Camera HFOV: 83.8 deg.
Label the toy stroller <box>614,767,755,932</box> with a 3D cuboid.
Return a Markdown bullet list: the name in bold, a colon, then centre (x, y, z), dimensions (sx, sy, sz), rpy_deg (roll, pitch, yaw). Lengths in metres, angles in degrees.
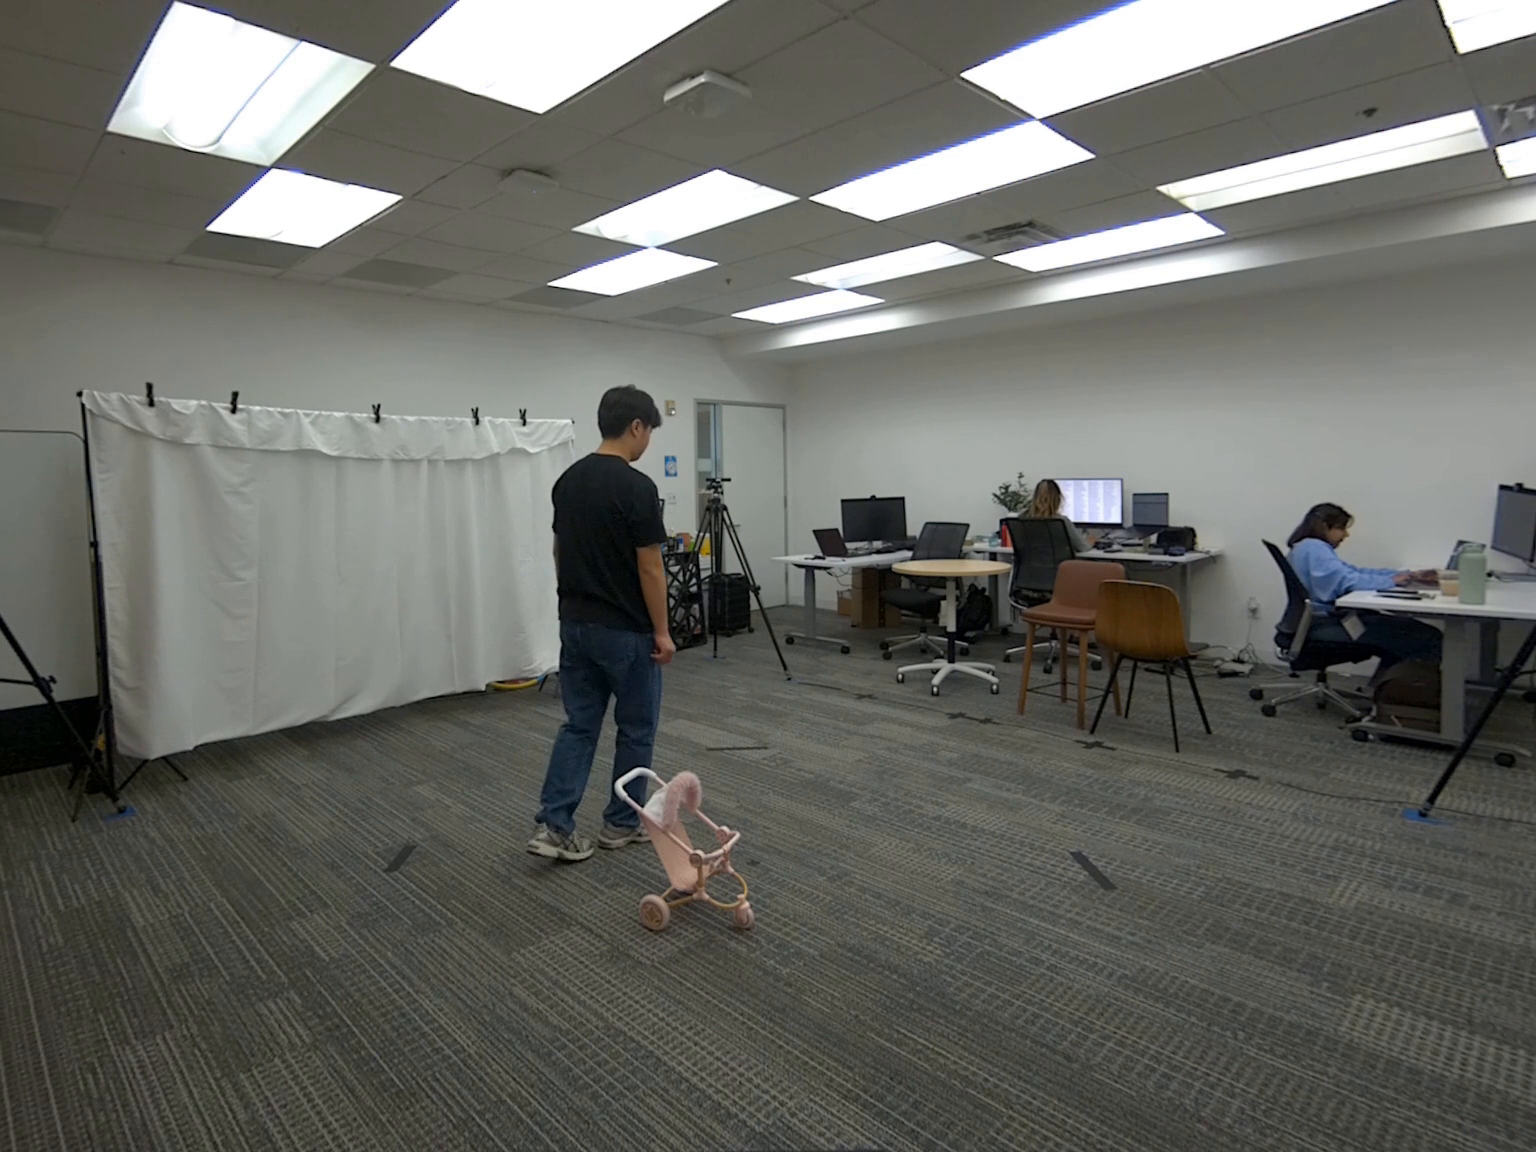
- **toy stroller**: centre (-0.248, 0.866, 2.726), dimensions (0.347, 0.537, 0.276), rpy_deg (-17, -4, 29)
